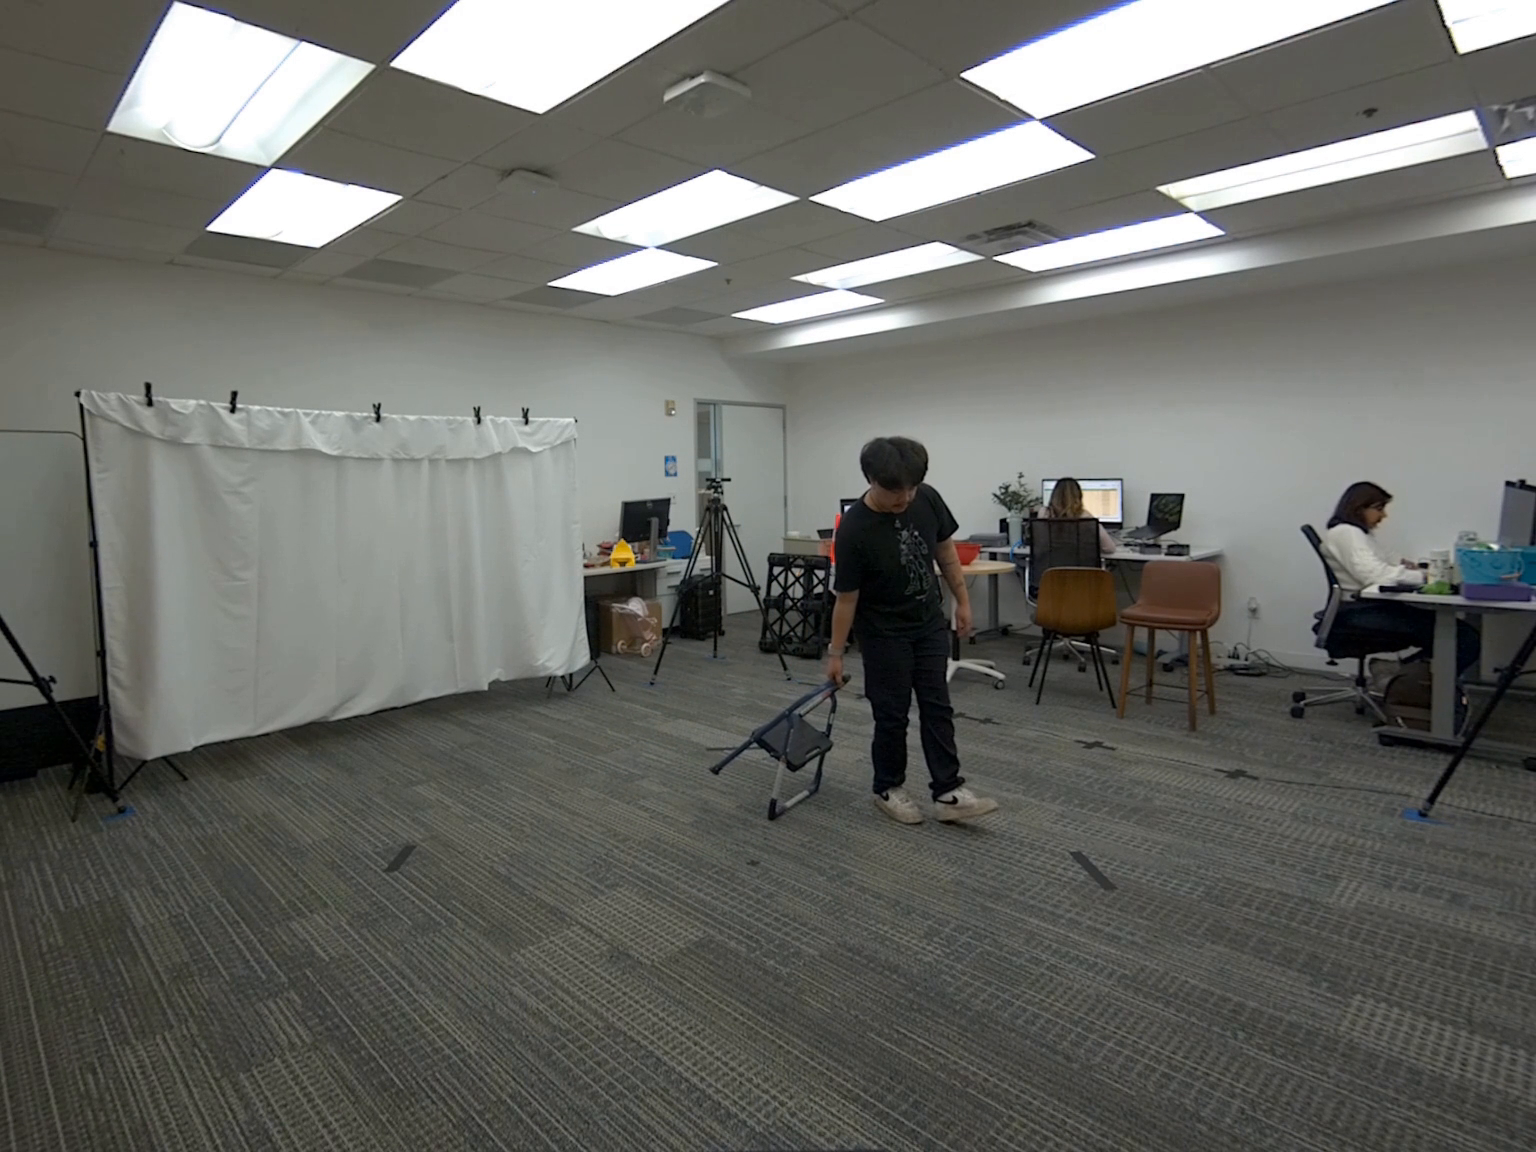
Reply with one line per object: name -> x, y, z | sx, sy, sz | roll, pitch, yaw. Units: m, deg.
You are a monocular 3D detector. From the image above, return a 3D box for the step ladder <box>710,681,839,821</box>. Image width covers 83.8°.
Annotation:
step ladder -> 0.108, 0.640, 3.637 | 0.360, 0.601, 0.421 | 34, 22, 25
